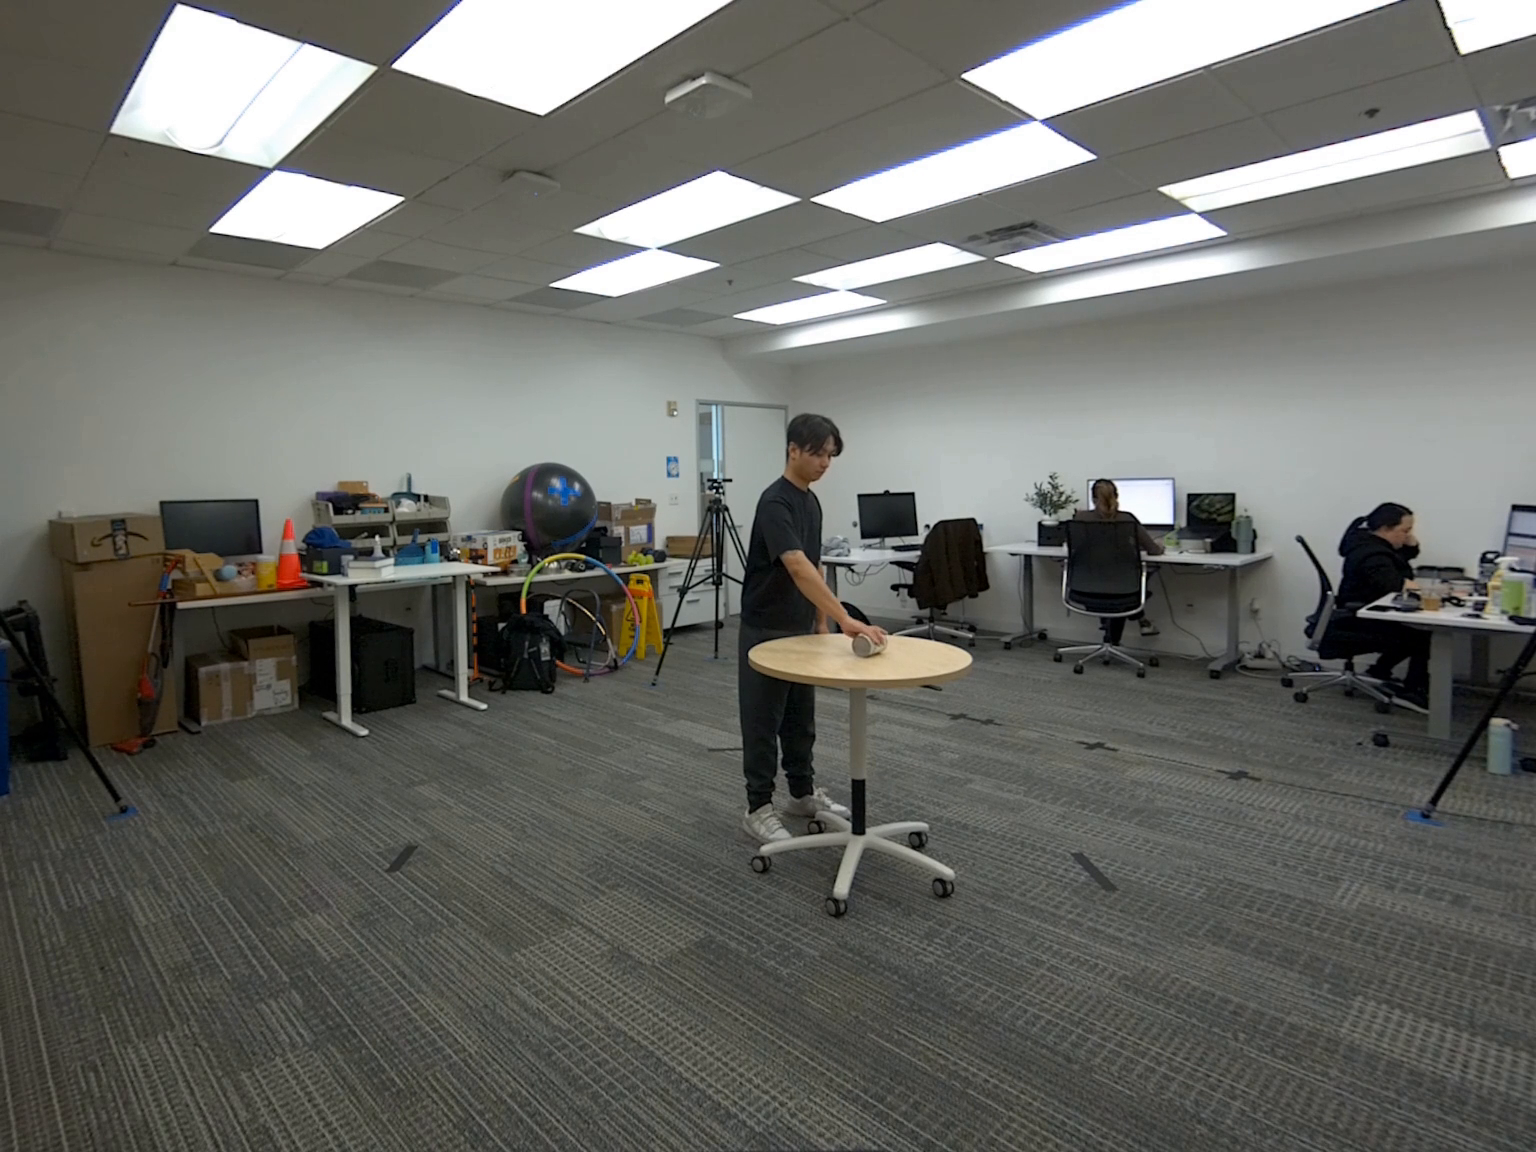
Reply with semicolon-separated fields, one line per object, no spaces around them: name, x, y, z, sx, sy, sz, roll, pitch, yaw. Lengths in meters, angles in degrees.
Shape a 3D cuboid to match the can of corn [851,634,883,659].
can of corn;0.356;0.236;2.953;0.076;0.074;0.108;2;5;34
